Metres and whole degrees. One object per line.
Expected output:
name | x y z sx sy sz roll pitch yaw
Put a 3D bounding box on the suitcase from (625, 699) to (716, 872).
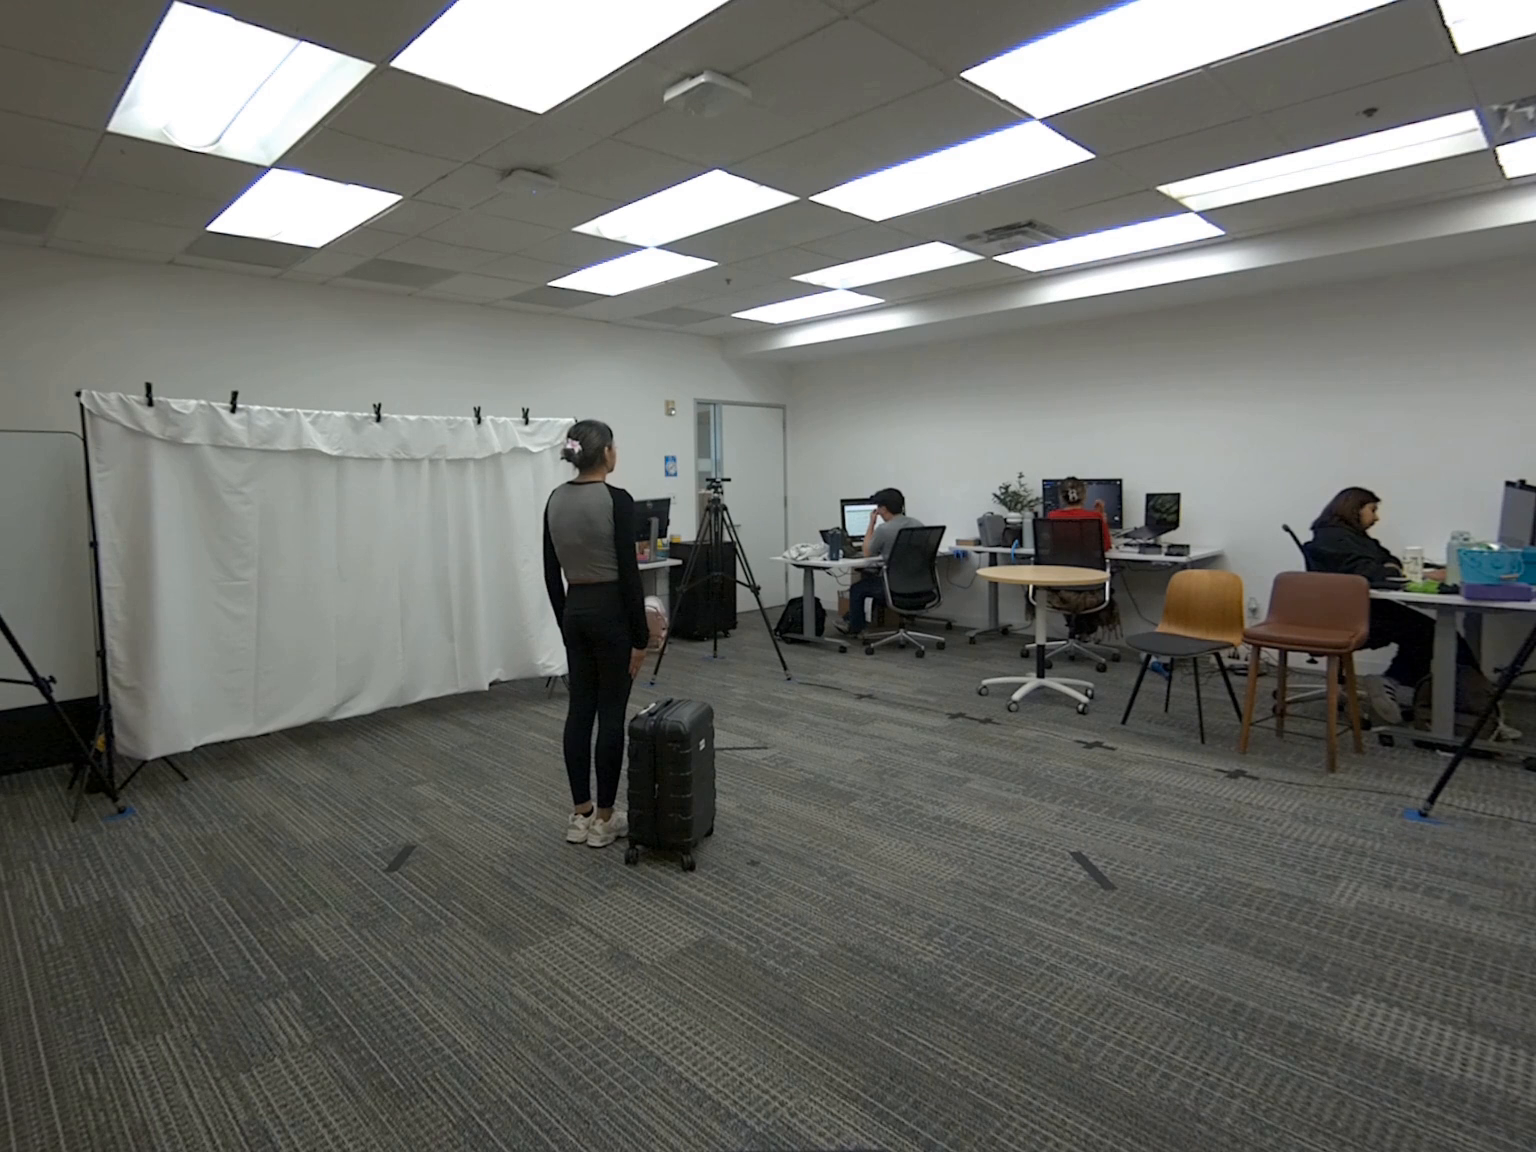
suitcase | -0.363 0.756 3.231 0.252 0.548 0.371 1 3 14
